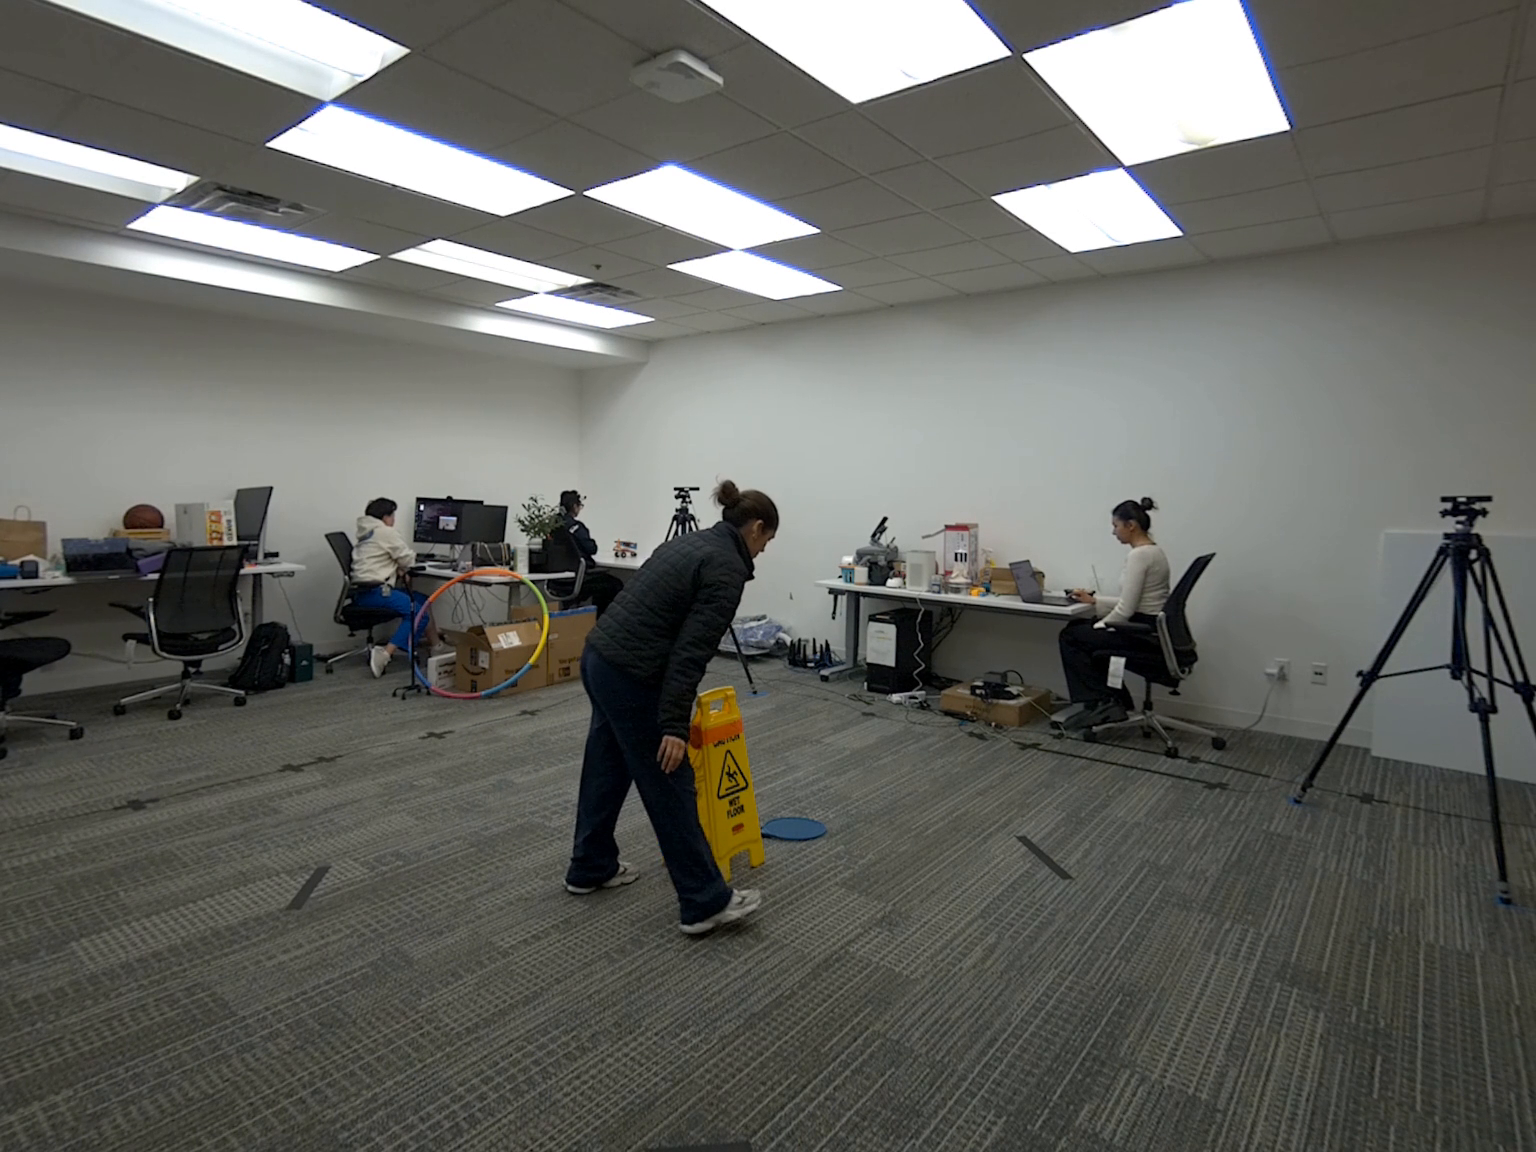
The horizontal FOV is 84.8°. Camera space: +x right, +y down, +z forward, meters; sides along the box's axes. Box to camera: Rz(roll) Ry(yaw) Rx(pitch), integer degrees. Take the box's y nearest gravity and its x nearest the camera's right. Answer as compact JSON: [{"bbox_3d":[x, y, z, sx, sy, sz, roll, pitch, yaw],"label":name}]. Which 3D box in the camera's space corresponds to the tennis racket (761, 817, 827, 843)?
[{"bbox_3d":[0.049,1.016,3.448,0.424,0.032,0.219,1,5,-21],"label":"tennis racket"}]
